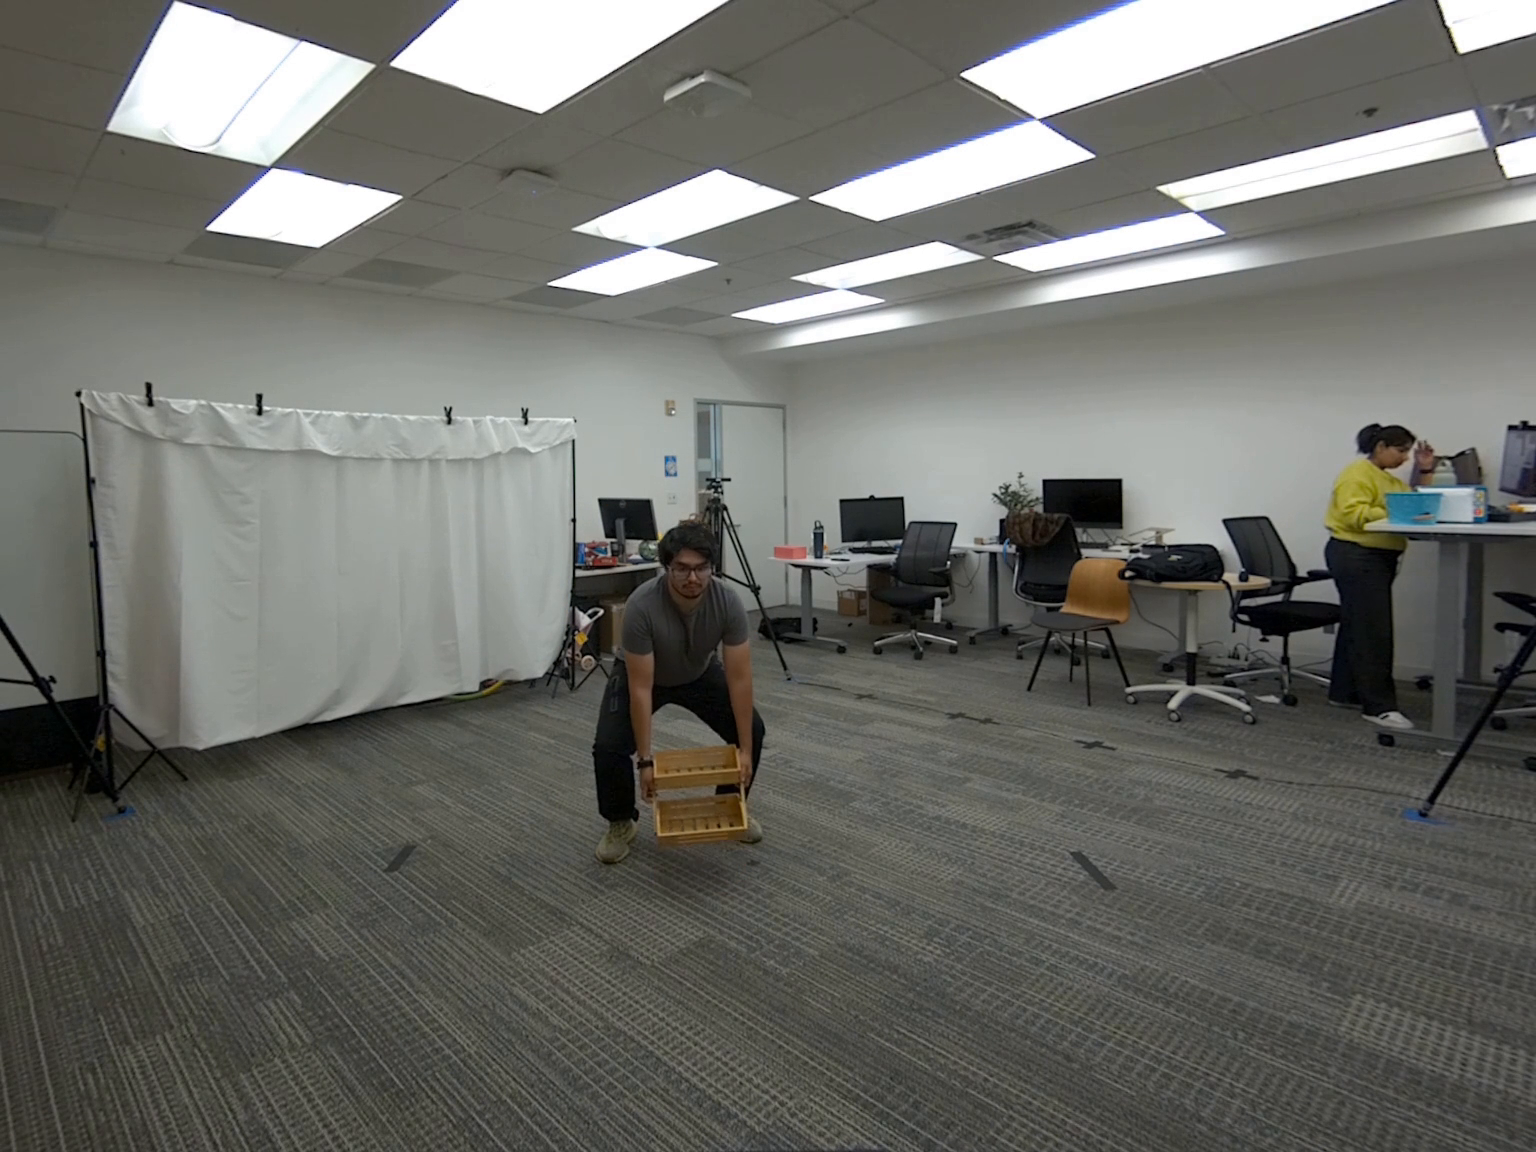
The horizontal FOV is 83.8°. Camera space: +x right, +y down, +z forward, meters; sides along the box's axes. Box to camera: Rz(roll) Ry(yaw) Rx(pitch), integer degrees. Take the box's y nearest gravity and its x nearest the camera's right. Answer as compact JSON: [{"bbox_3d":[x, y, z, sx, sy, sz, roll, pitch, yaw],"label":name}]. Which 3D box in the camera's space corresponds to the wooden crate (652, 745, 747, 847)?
[{"bbox_3d":[-0.257,0.769,2.997,0.324,0.273,0.303,-2,3,-2],"label":"wooden crate"}]
